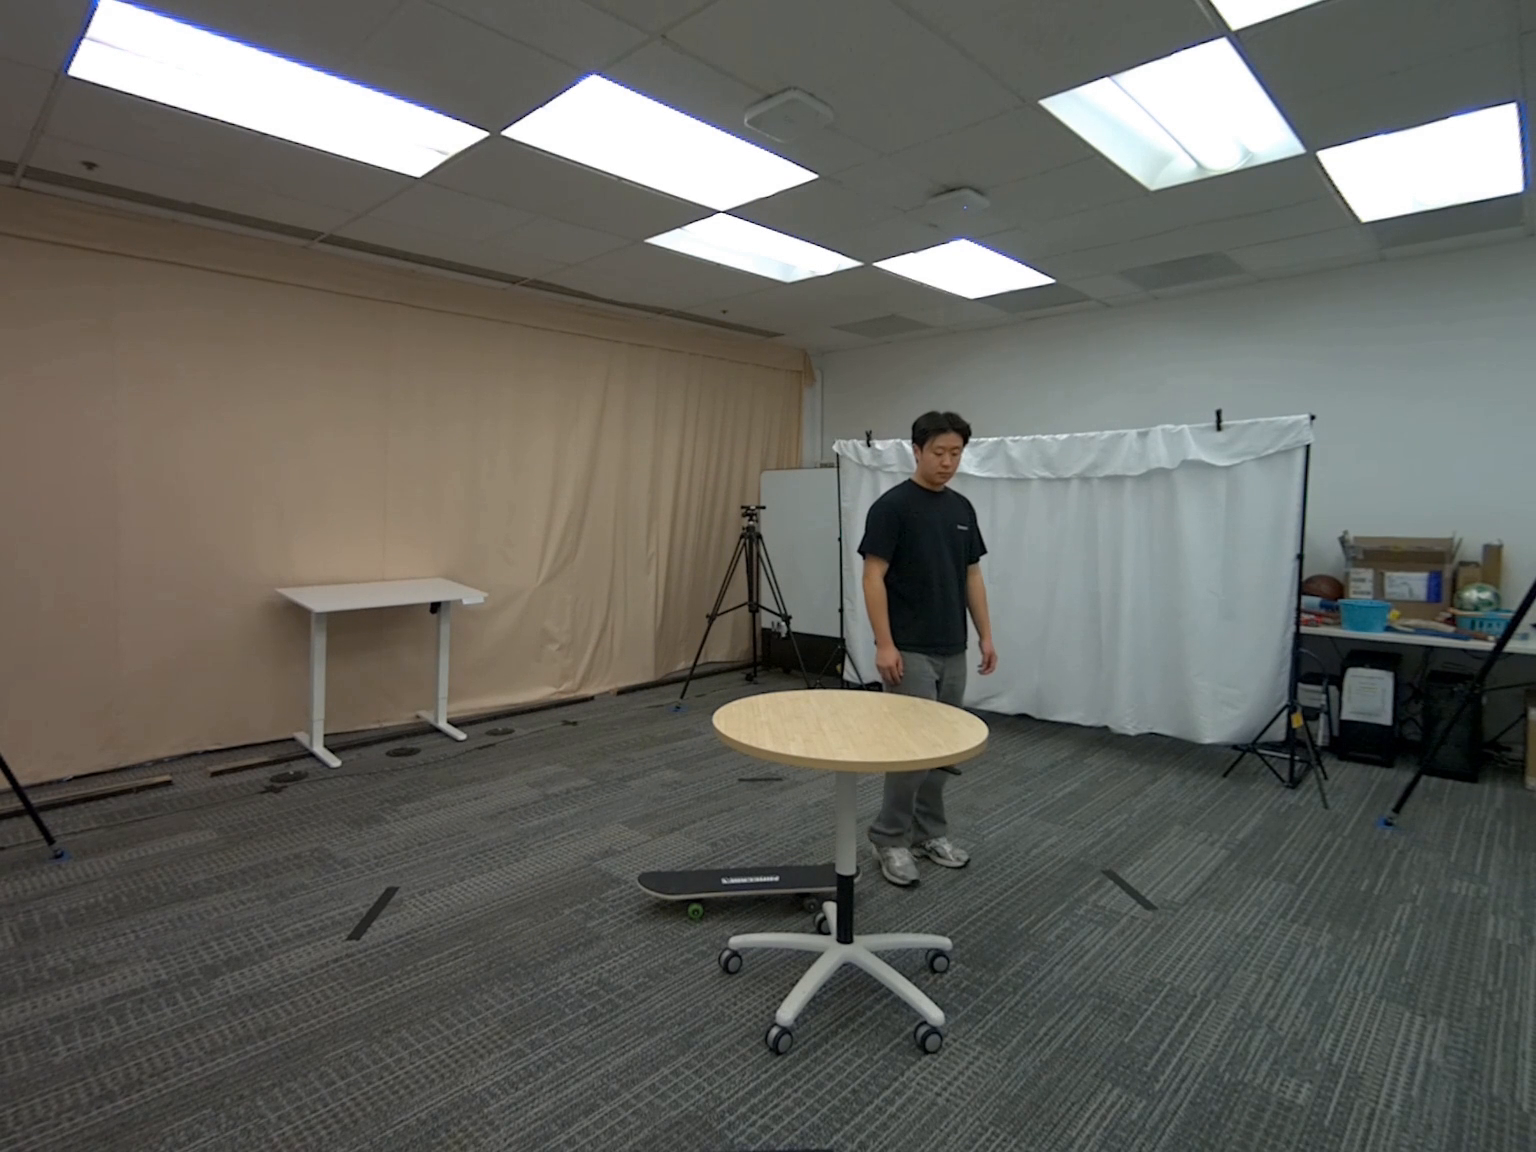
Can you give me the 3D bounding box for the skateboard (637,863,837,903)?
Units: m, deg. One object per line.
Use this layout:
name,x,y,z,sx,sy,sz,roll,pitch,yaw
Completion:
skateboard,-0.061,1.091,2.937,0.780,0.110,0.195,0,5,-6
